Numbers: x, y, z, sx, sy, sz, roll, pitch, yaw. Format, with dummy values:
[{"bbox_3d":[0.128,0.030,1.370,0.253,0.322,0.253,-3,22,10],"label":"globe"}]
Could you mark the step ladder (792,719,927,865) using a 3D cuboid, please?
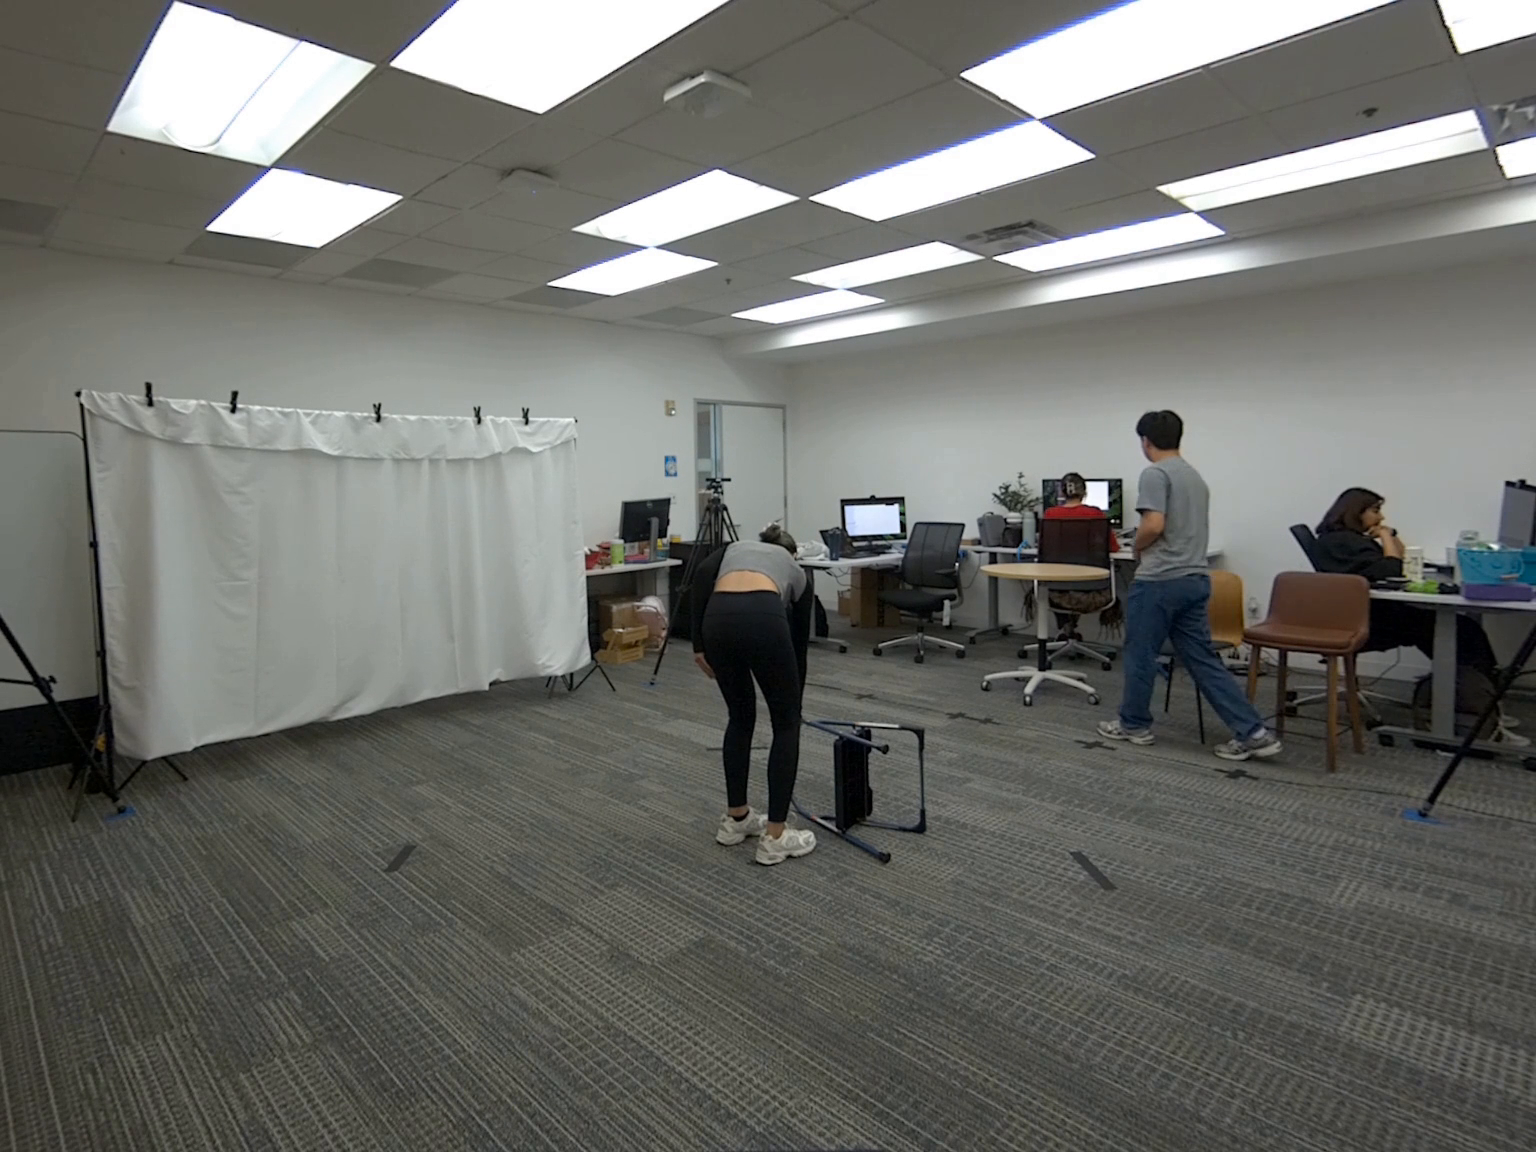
[{"bbox_3d":[0.281,0.797,3.388,0.624,0.430,0.340,2,4,38],"label":"step ladder"}]
